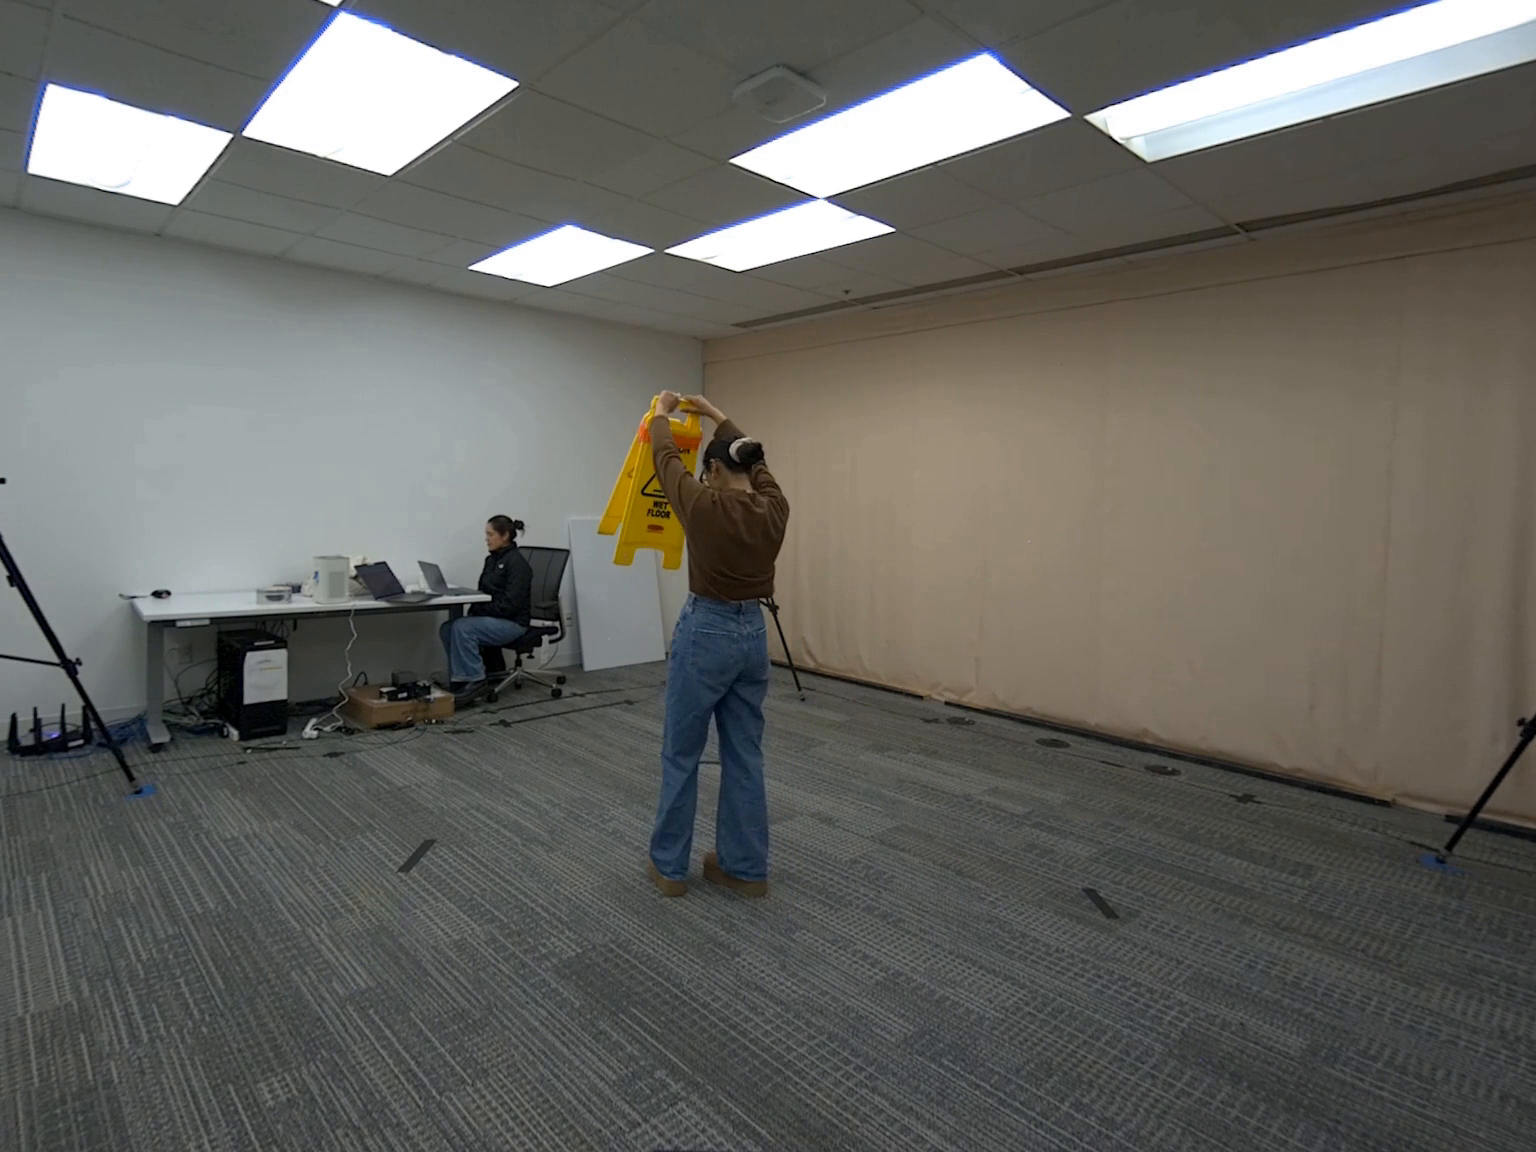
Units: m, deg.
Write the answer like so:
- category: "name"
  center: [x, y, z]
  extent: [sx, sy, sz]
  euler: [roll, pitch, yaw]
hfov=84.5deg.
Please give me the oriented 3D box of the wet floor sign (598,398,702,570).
- category: "wet floor sign"
  center: [-0.438, -0.380, 3.278]
  extent: [0.276, 0.640, 0.299]
  euler: [6, 25, -29]
